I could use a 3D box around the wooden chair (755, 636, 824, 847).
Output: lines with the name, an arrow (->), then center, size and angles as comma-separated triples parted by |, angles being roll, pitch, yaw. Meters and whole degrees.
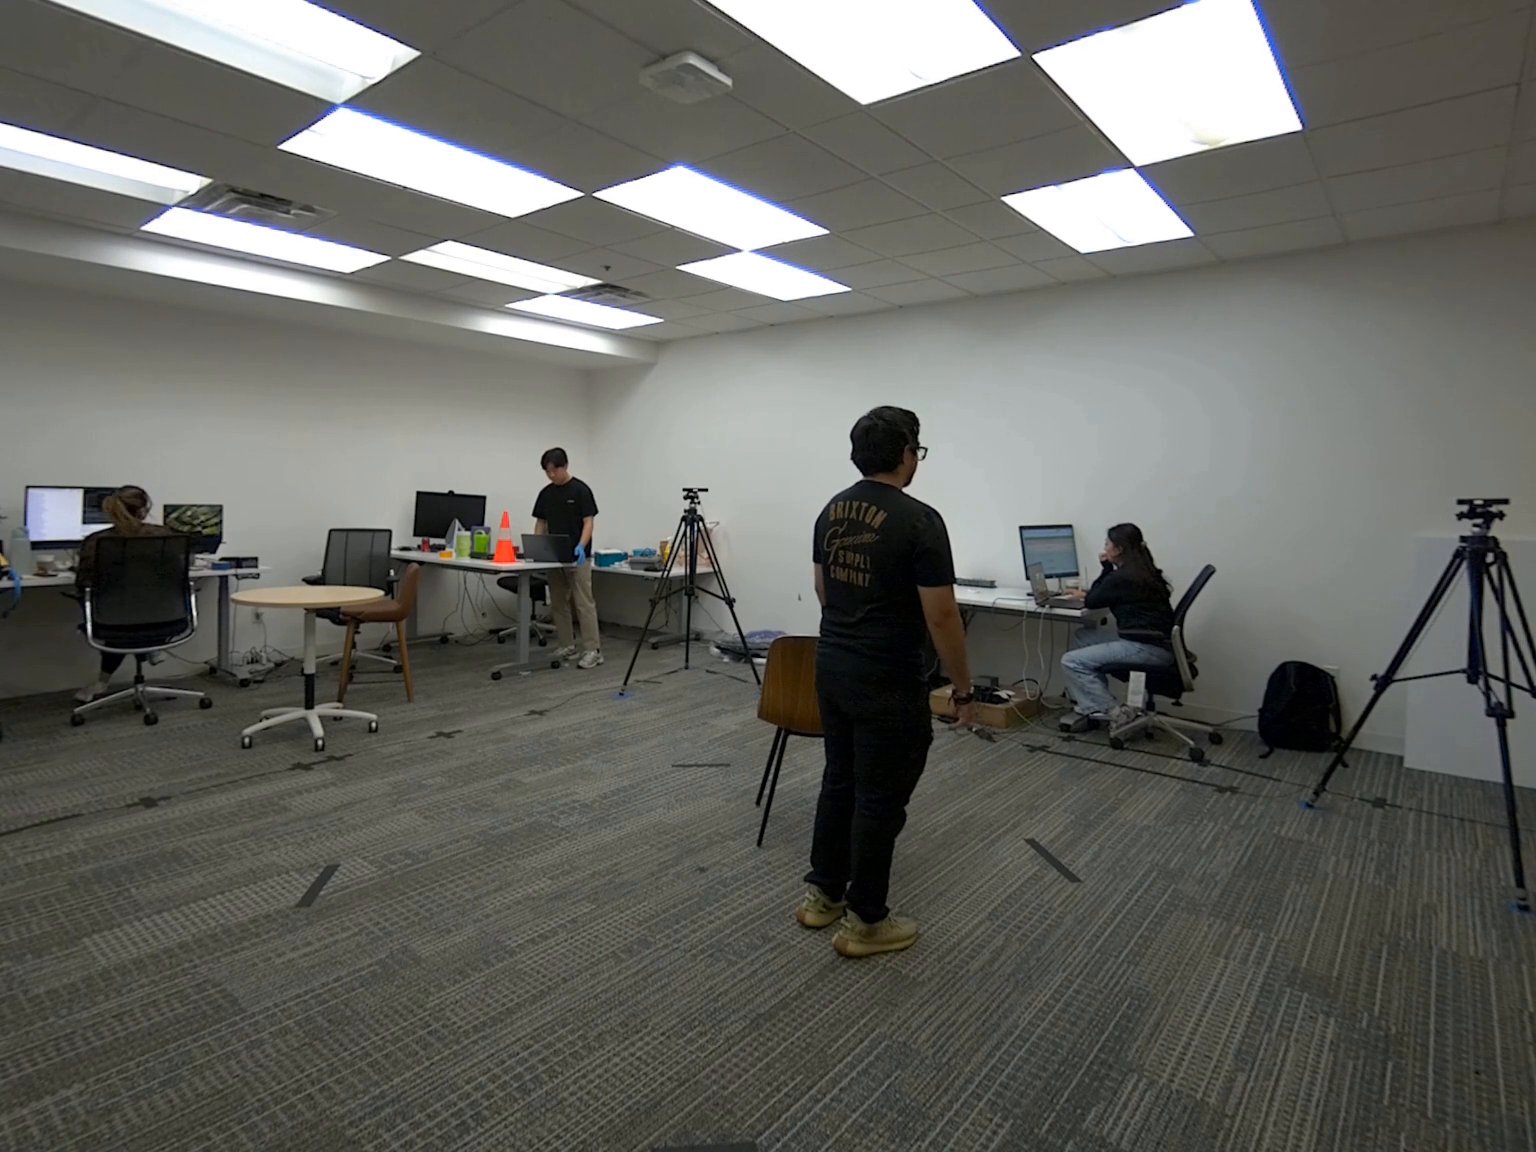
wooden chair -> 0.169, 0.611, 3.511 | 0.479, 0.872, 0.526 | 1, 7, 0
